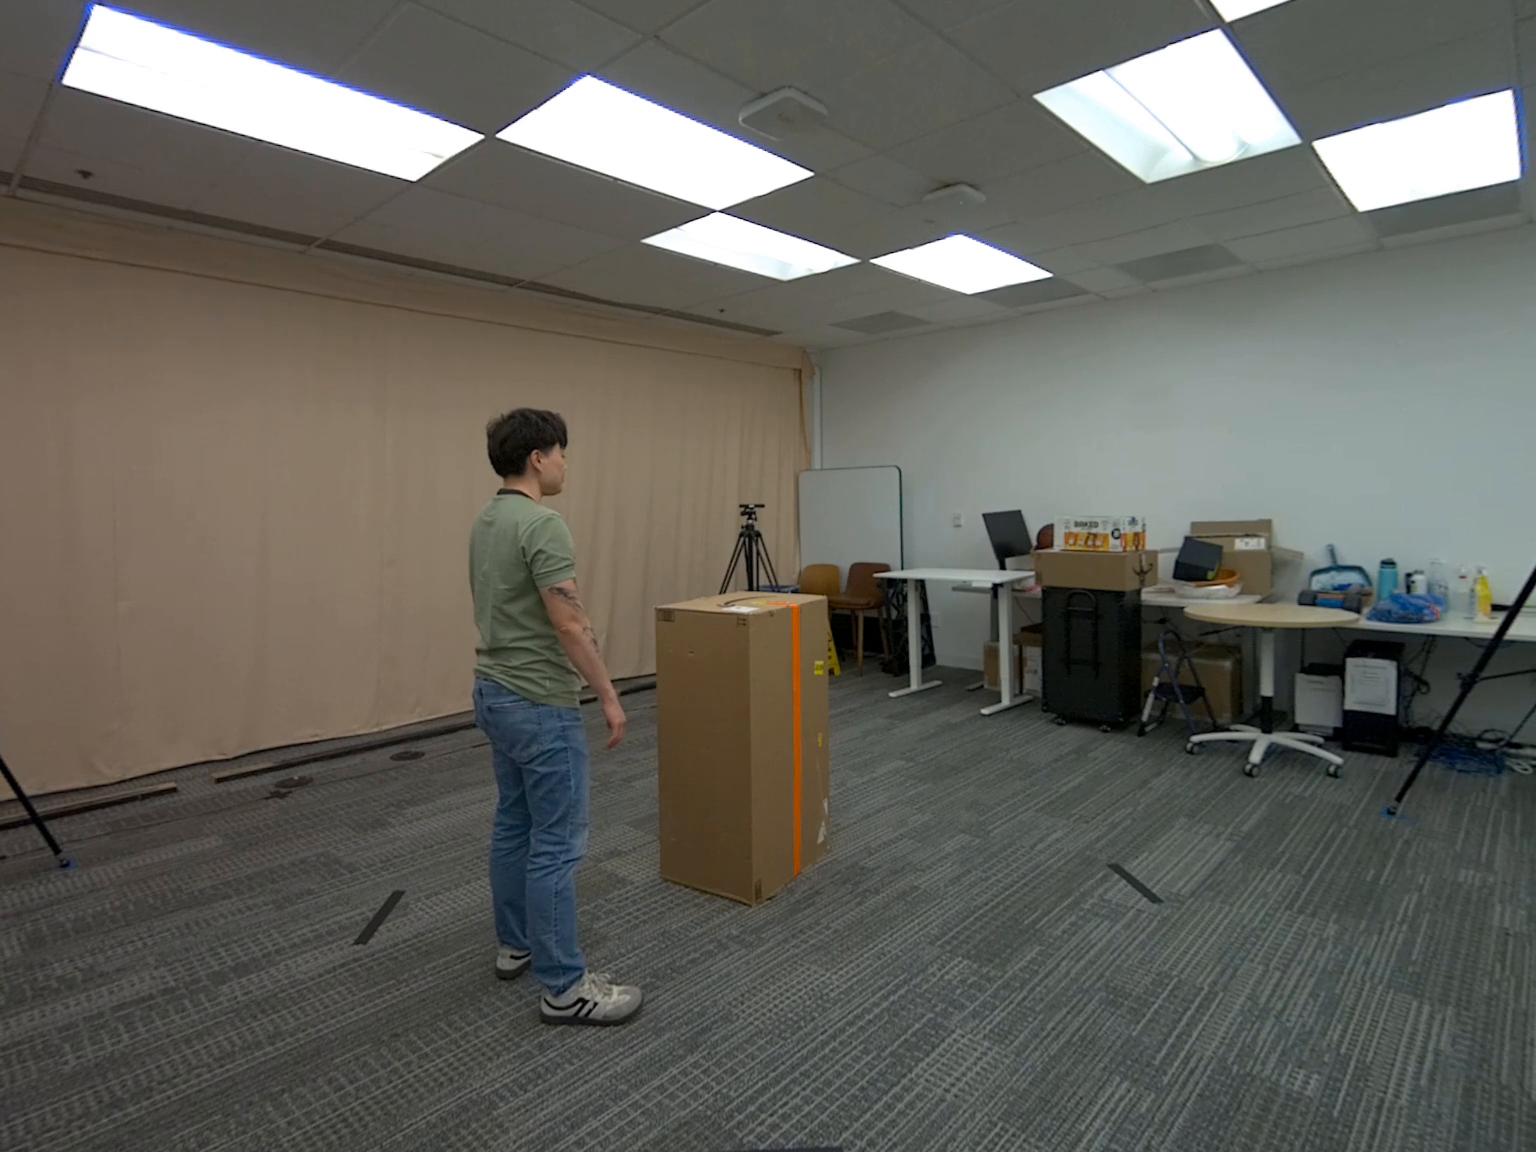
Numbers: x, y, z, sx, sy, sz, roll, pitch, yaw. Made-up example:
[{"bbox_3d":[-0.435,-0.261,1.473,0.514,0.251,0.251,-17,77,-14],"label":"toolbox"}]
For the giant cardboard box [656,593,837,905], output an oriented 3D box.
[{"bbox_3d":[-0.080,0.608,3.236,0.439,1.023,0.561,1,4,33],"label":"giant cardboard box"}]
